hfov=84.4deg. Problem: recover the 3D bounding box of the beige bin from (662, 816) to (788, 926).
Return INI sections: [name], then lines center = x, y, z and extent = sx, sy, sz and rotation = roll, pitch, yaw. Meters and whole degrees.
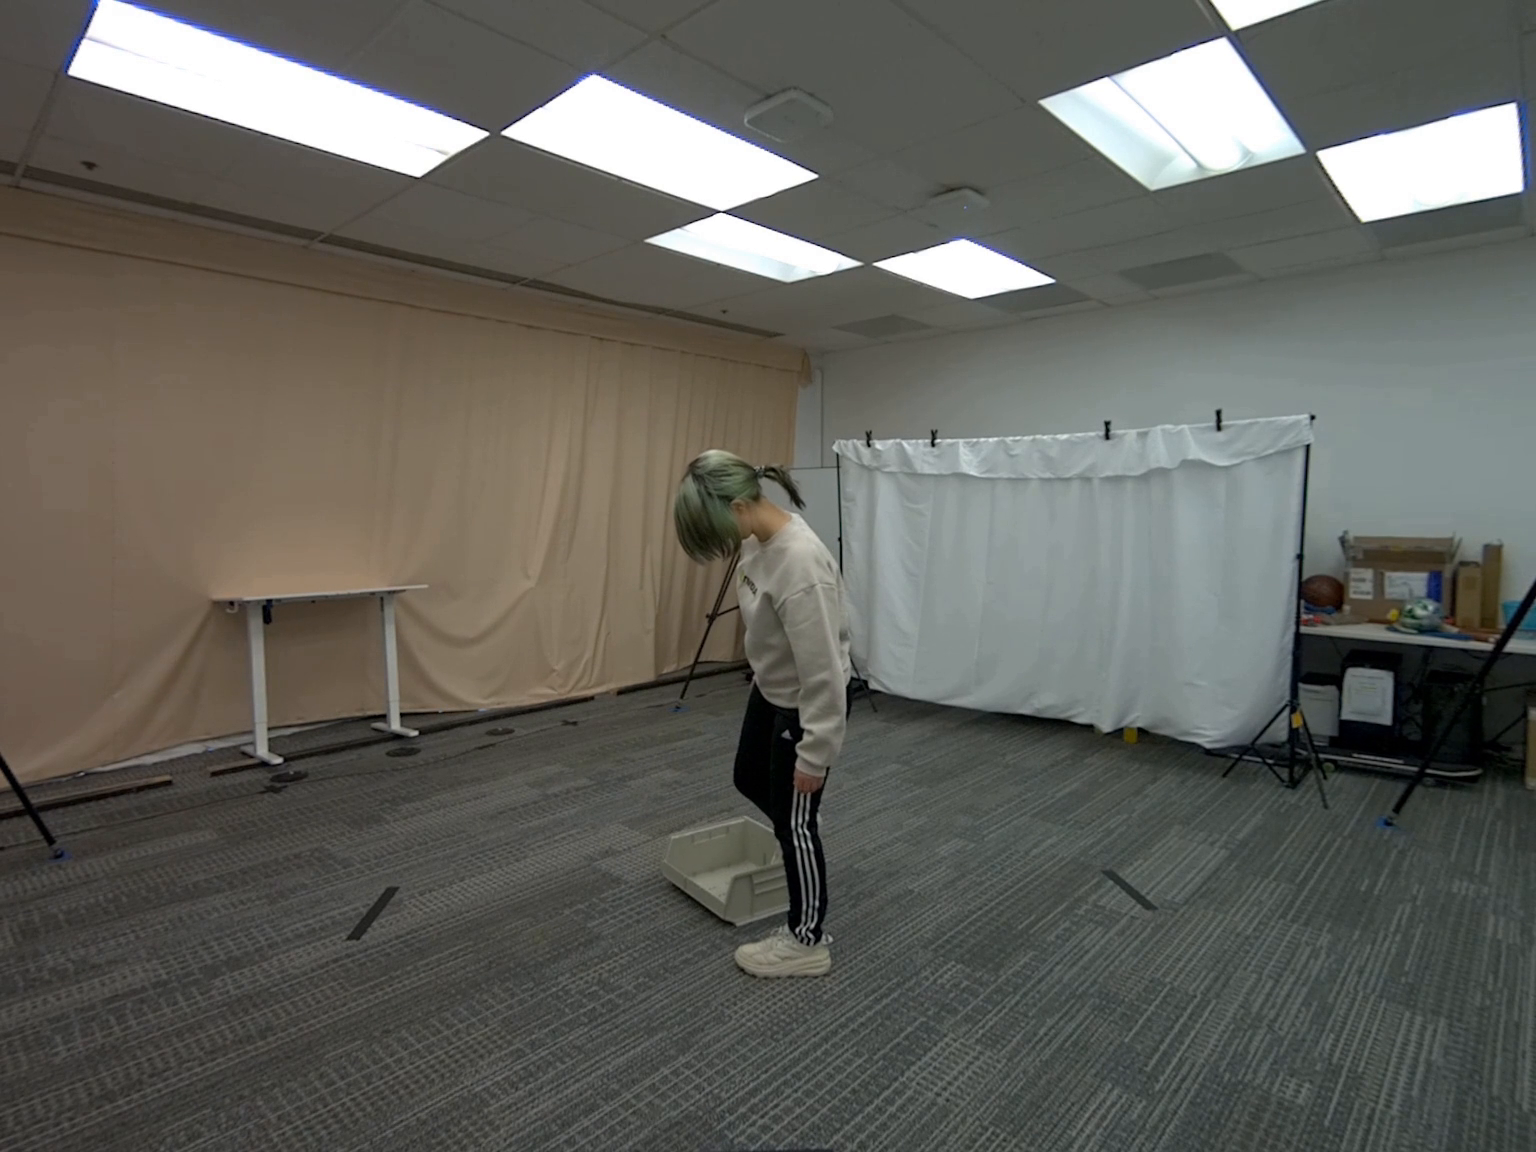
[beige bin]
center = -0.112, 1.048, 3.019
extent = 0.366, 0.189, 0.436
rotation = -1, 4, -35
